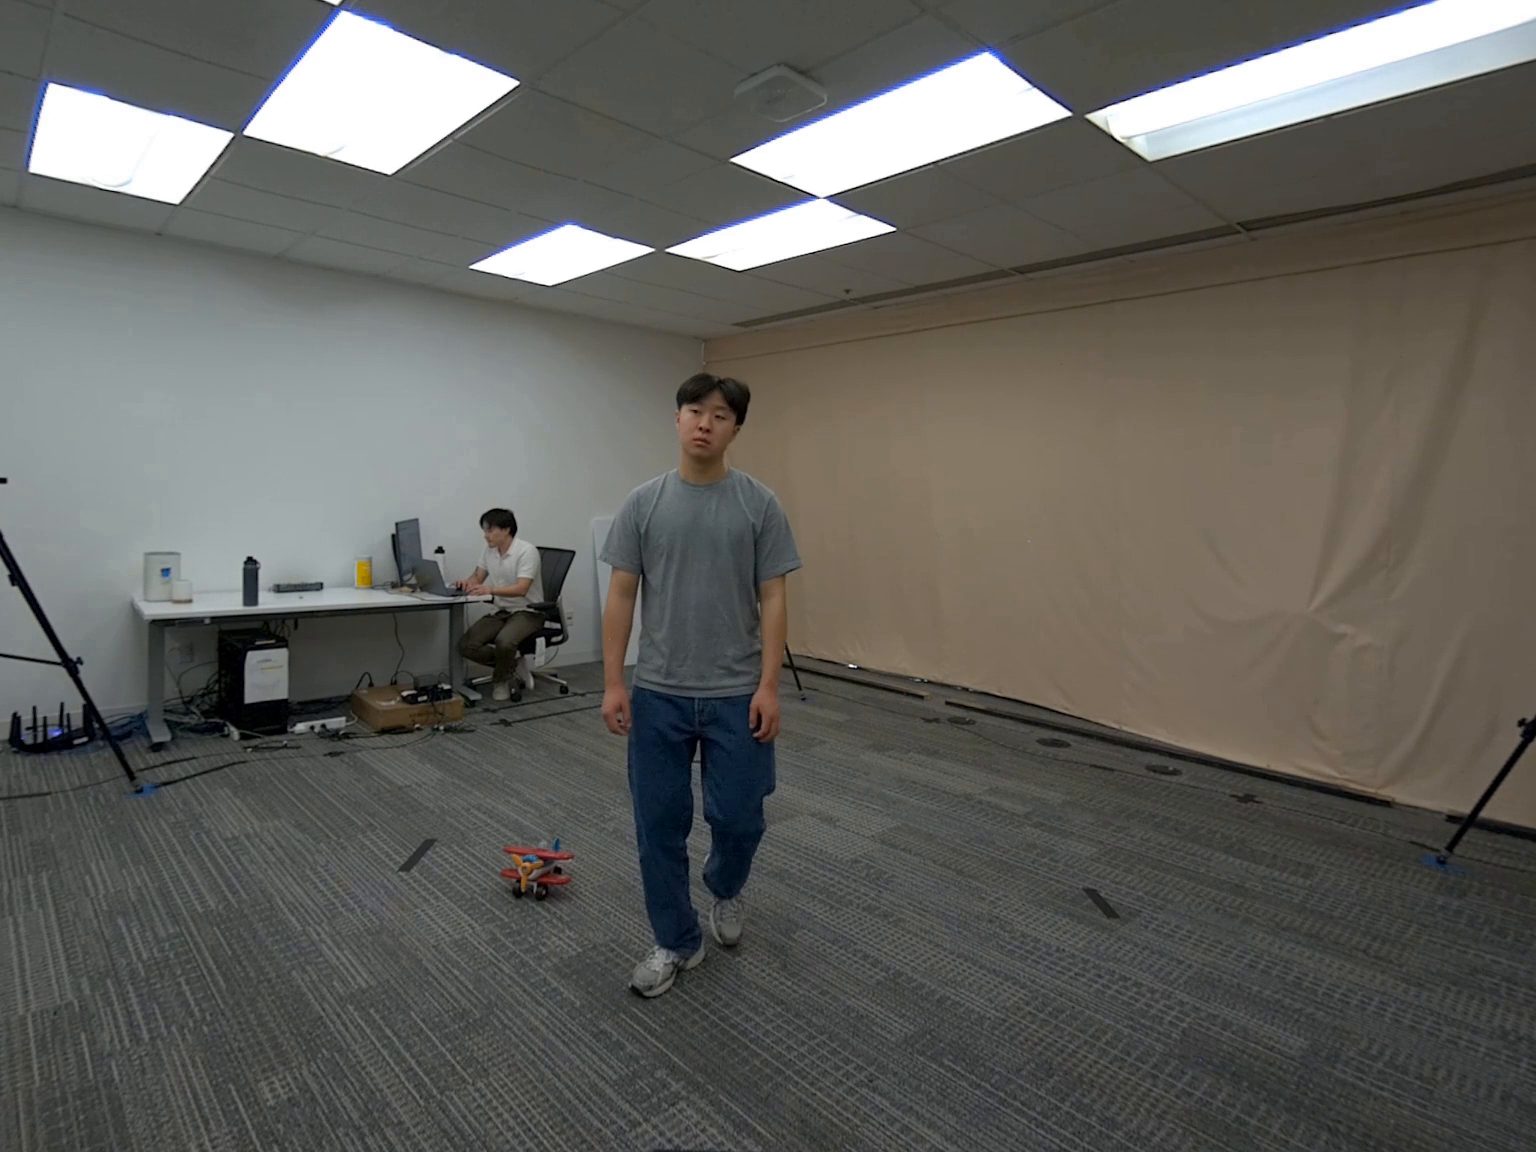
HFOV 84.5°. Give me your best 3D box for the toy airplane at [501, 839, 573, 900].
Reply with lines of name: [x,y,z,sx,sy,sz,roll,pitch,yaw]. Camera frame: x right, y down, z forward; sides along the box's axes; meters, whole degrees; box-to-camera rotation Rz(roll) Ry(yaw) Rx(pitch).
toy airplane: [-0.823,1.028,2.973,0.248,0.156,0.263,0,6,-16]
